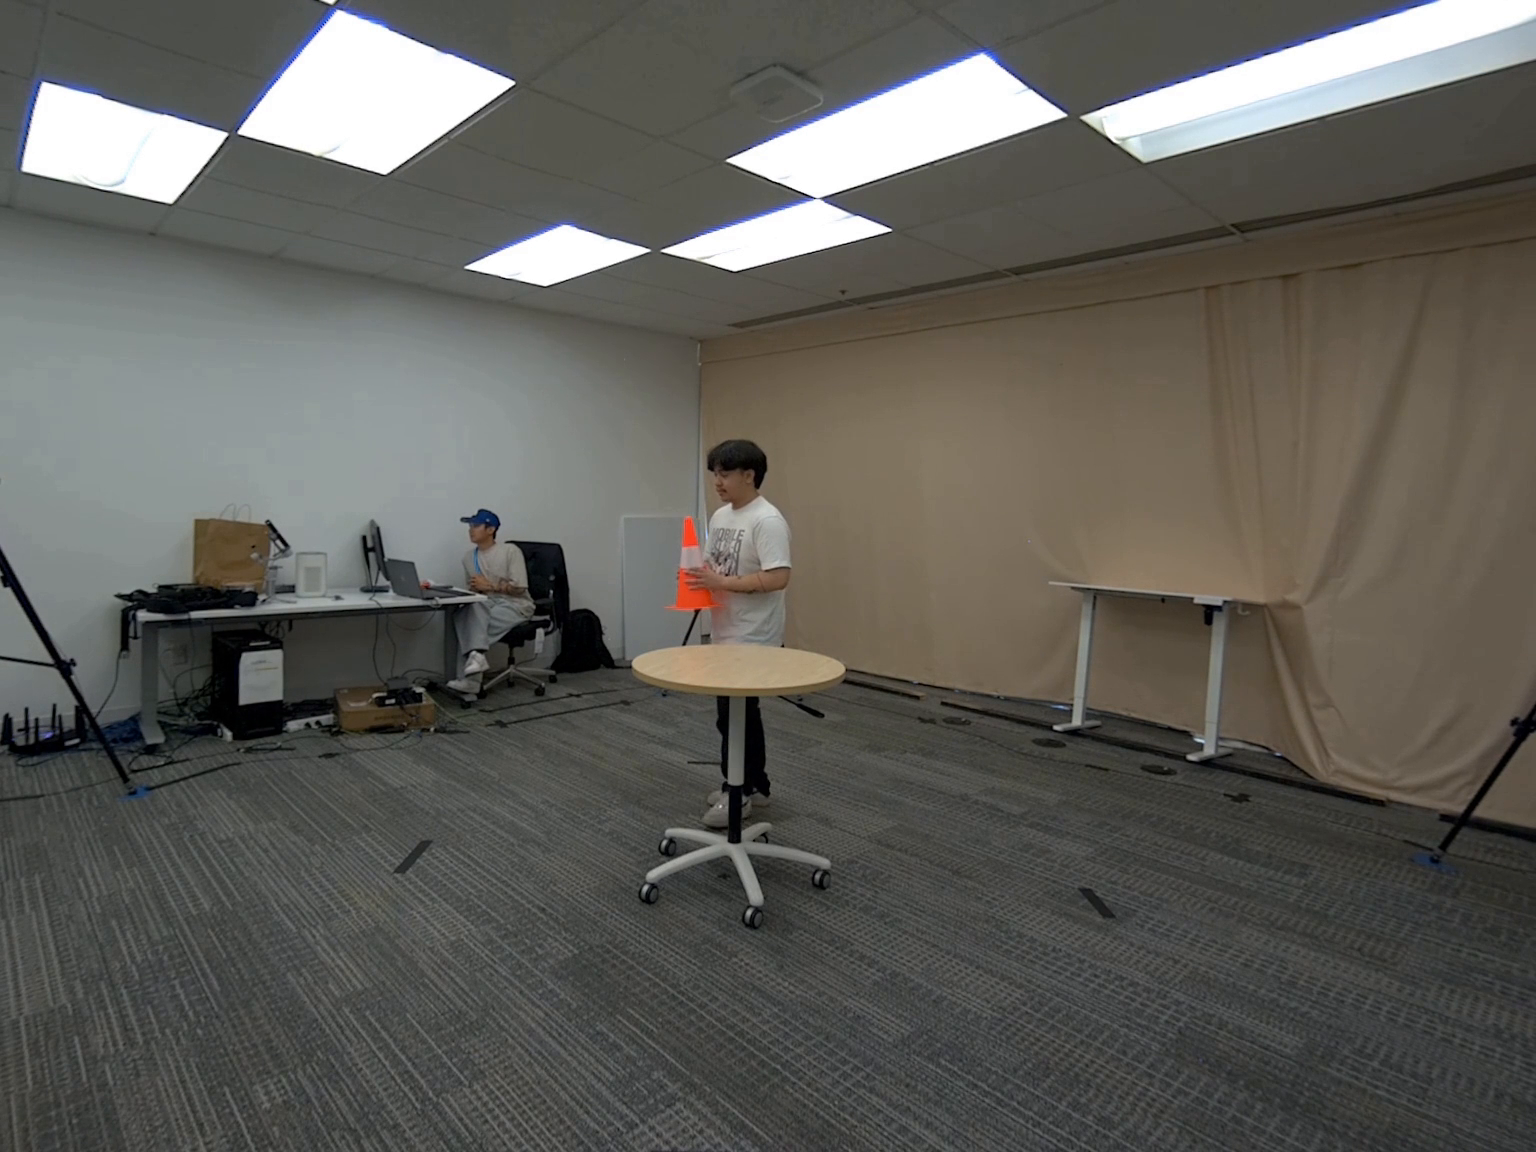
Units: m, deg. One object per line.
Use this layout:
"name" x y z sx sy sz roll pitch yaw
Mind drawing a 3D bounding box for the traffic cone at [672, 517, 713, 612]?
"traffic cone" -0.342 -0.064 3.609 0.210 0.381 0.200 4 12 39
